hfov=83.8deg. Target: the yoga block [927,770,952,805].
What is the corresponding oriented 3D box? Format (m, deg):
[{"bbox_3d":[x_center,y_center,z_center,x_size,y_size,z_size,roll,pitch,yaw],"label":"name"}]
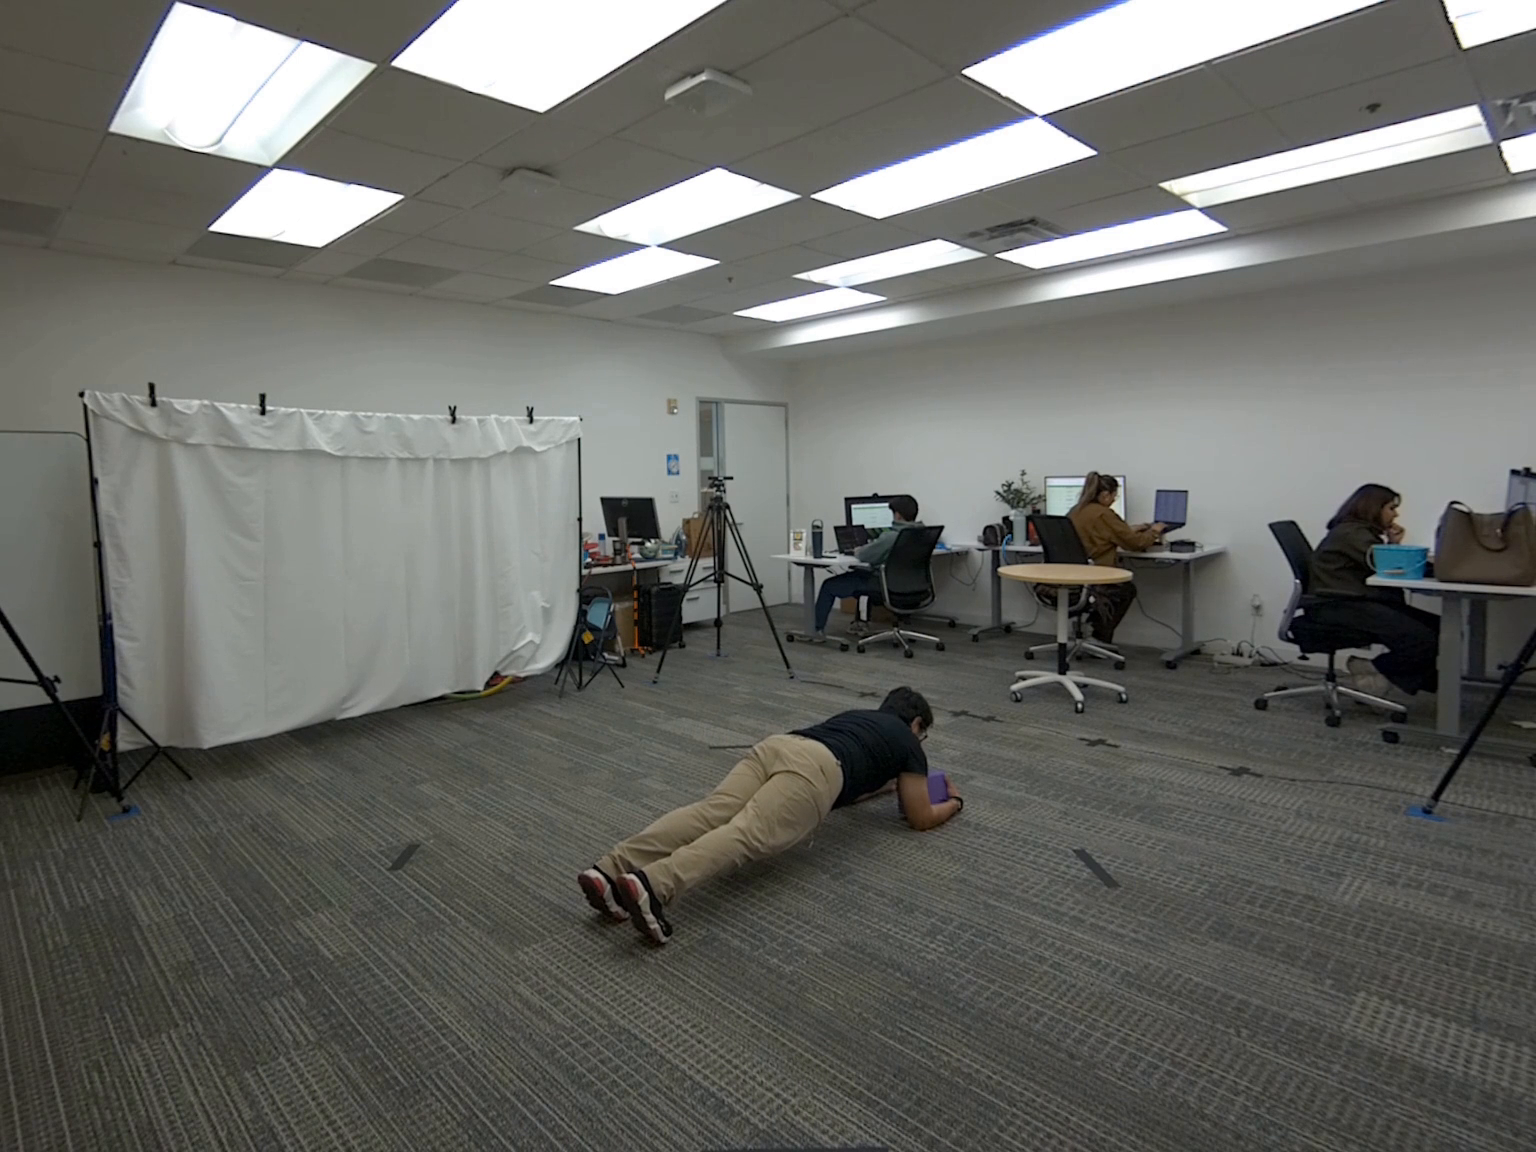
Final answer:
[{"bbox_3d":[0.646,0.891,3.518,0.223,0.150,0.078,0,-6,-35],"label":"yoga block"}]
